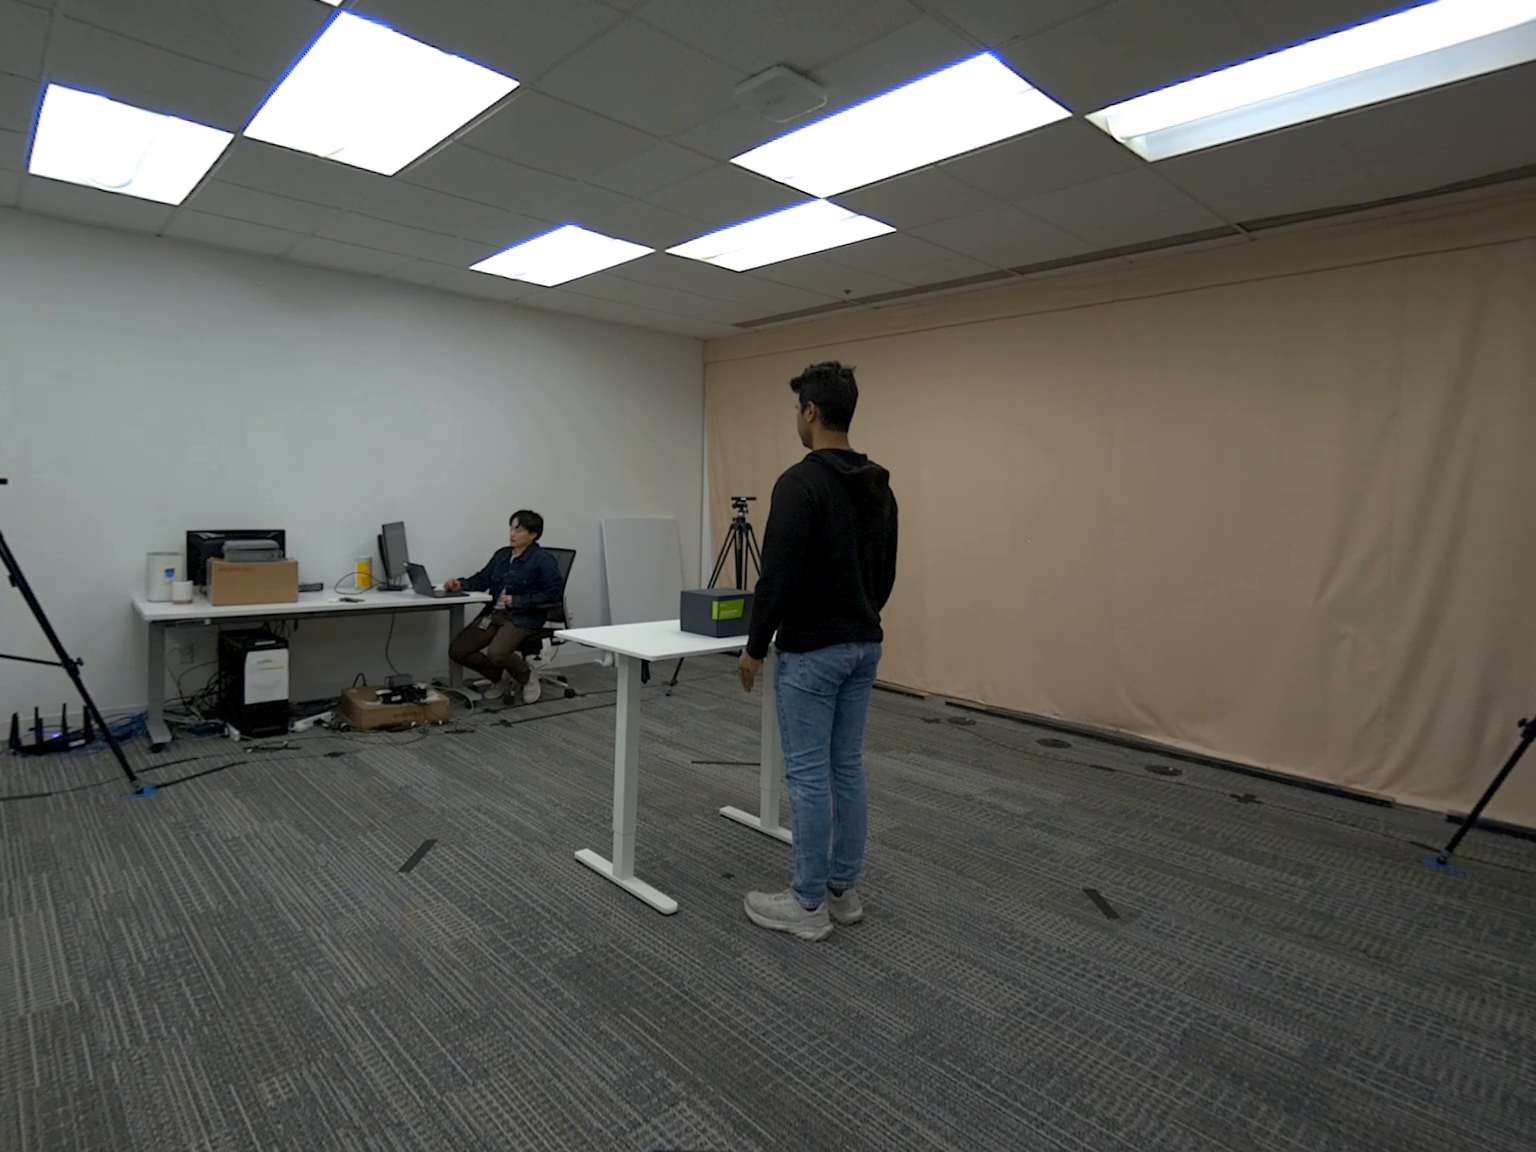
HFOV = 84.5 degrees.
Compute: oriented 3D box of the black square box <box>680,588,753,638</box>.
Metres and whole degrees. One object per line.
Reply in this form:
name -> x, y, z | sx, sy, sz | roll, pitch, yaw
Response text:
black square box -> -0.184, 0.136, 3.201 | 0.222, 0.155, 0.222 | 6, 6, 44
